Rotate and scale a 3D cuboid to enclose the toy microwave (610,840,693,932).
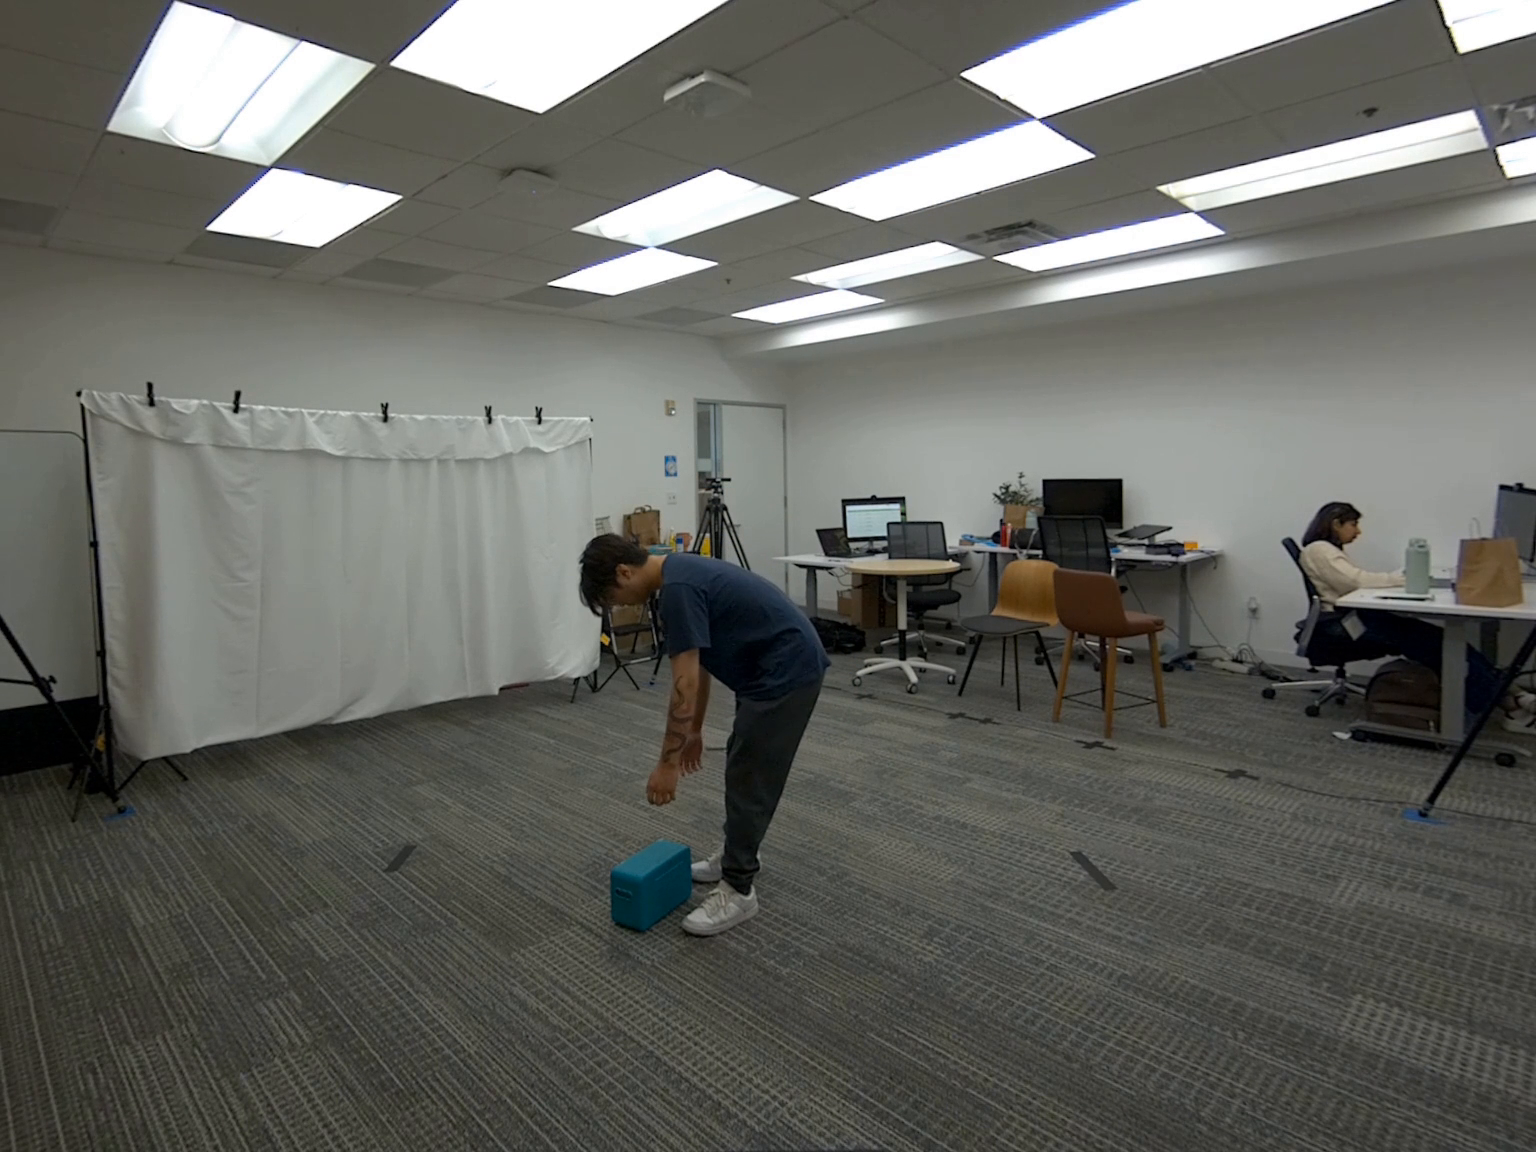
[{"bbox_3d":[-0.376,0.995,2.774,0.156,0.183,0.280,2,7,30],"label":"toy microwave"}]
